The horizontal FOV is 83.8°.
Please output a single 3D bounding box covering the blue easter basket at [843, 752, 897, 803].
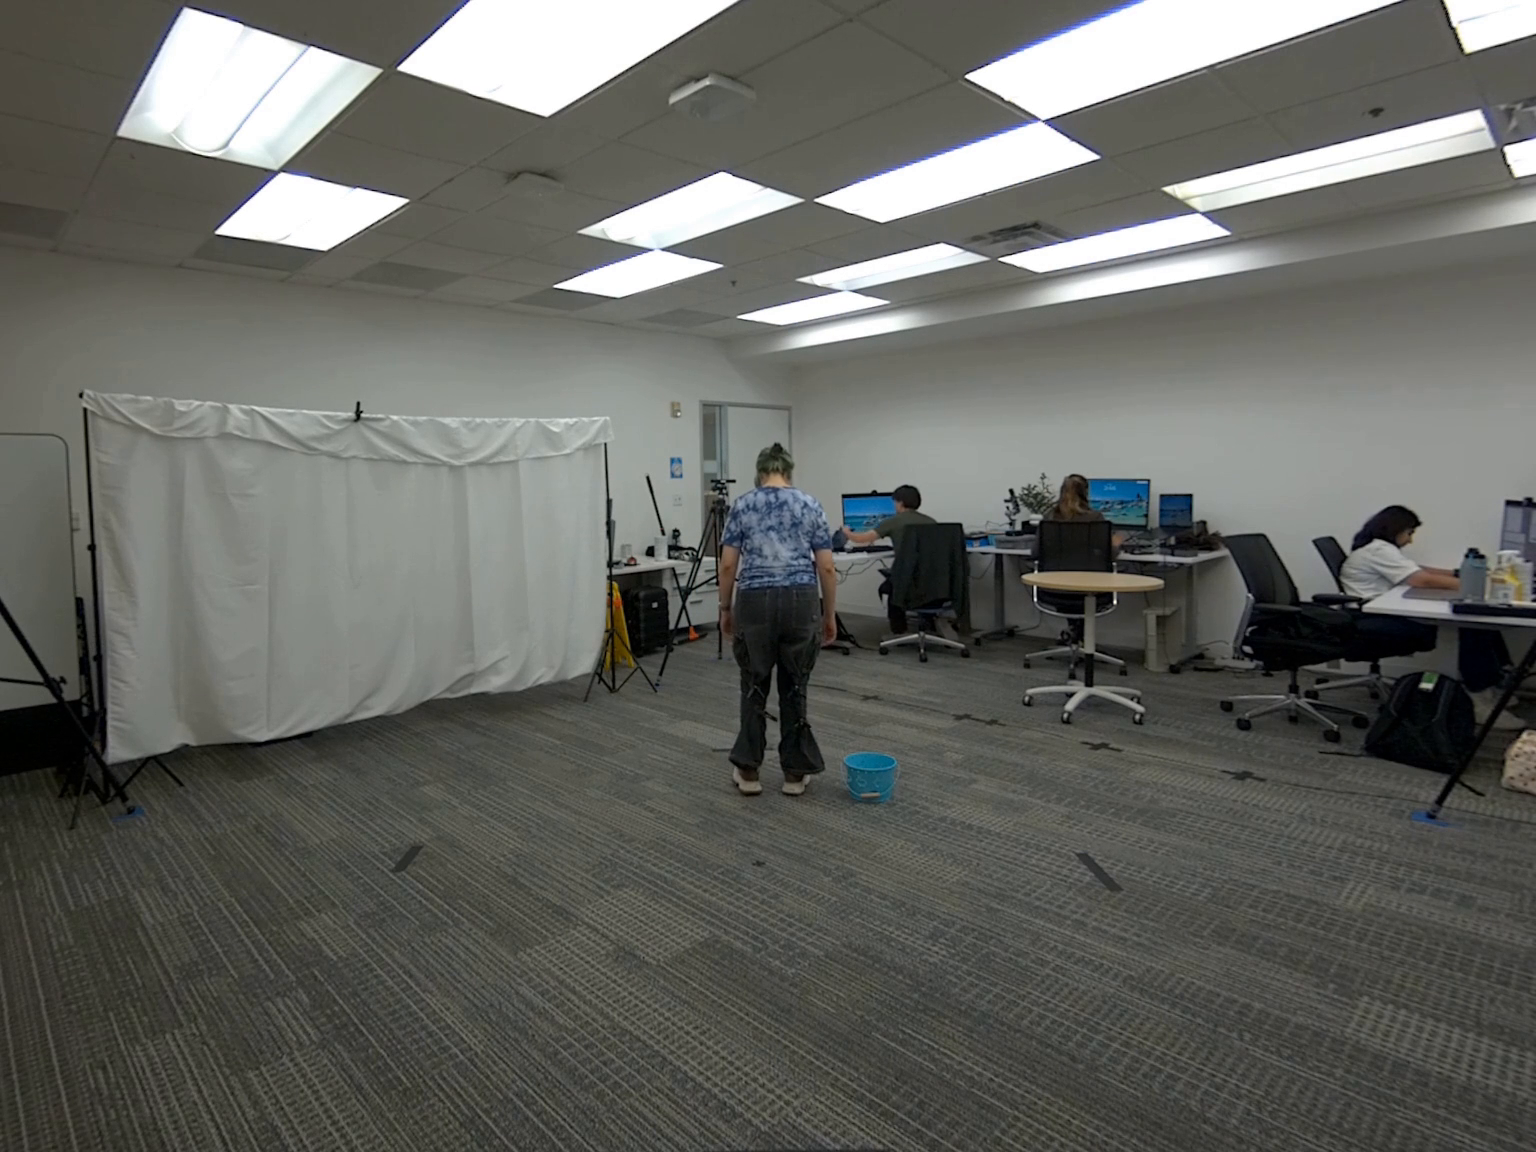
[{"bbox_3d":[0.450,0.887,3.767,0.243,0.155,0.245,-2,5,-2],"label":"blue easter basket"}]
